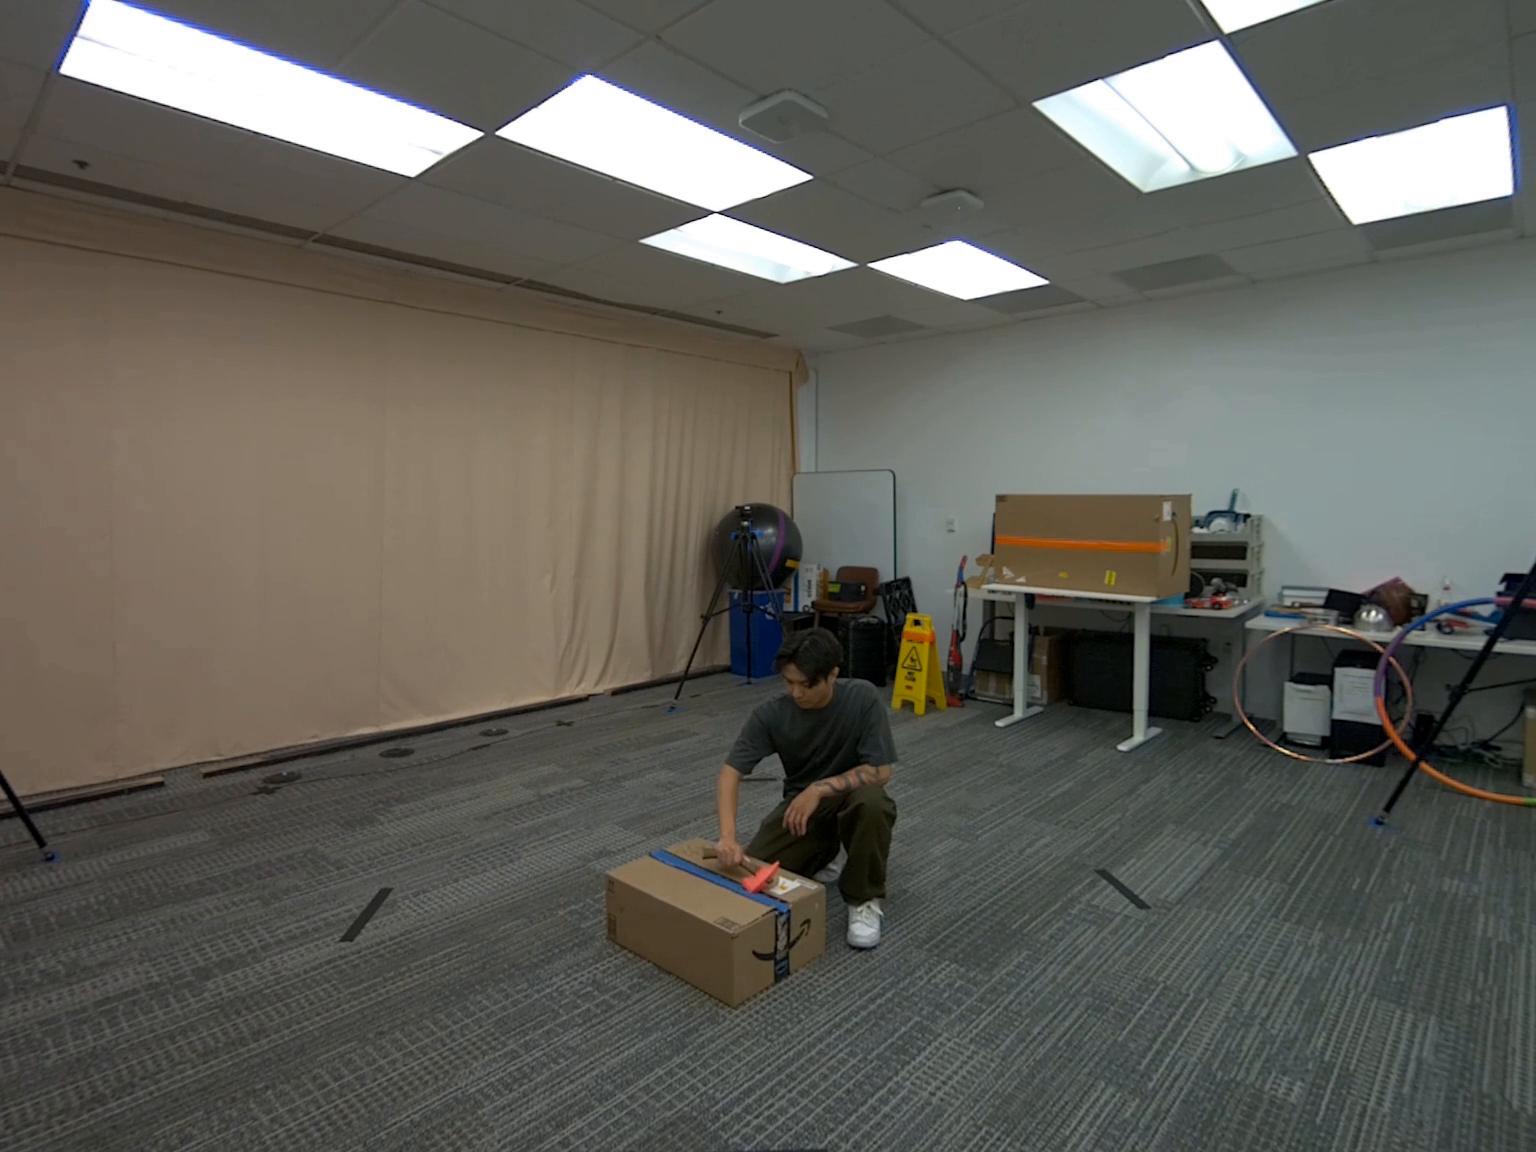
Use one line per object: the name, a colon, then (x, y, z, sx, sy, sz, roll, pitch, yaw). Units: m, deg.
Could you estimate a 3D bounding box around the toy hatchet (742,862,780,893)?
toy hatchet: (-0.092, 0.926, 2.646, 0.277, 0.029, 0.130, -3, 31, 30)
